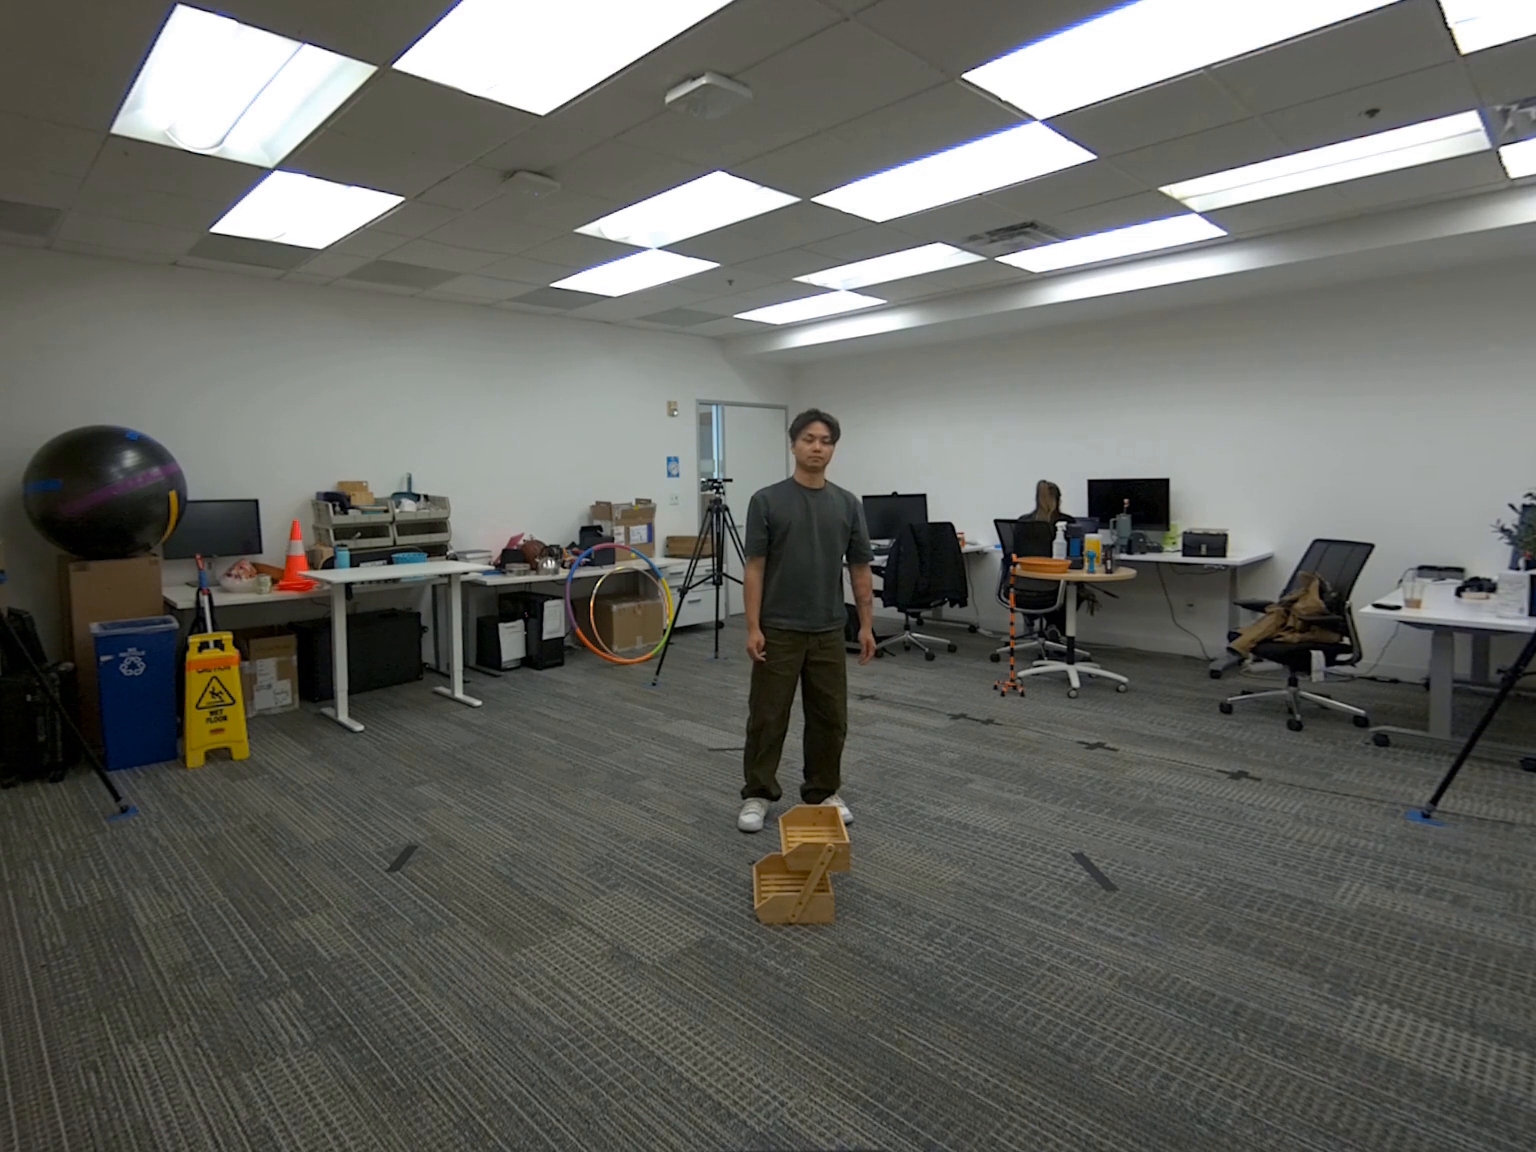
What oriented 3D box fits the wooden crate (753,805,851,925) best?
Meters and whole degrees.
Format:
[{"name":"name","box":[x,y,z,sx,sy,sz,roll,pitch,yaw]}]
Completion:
[{"name":"wooden crate","box":[0.096,0.941,2.821,0.302,0.272,0.326,-1,5,-2]}]
